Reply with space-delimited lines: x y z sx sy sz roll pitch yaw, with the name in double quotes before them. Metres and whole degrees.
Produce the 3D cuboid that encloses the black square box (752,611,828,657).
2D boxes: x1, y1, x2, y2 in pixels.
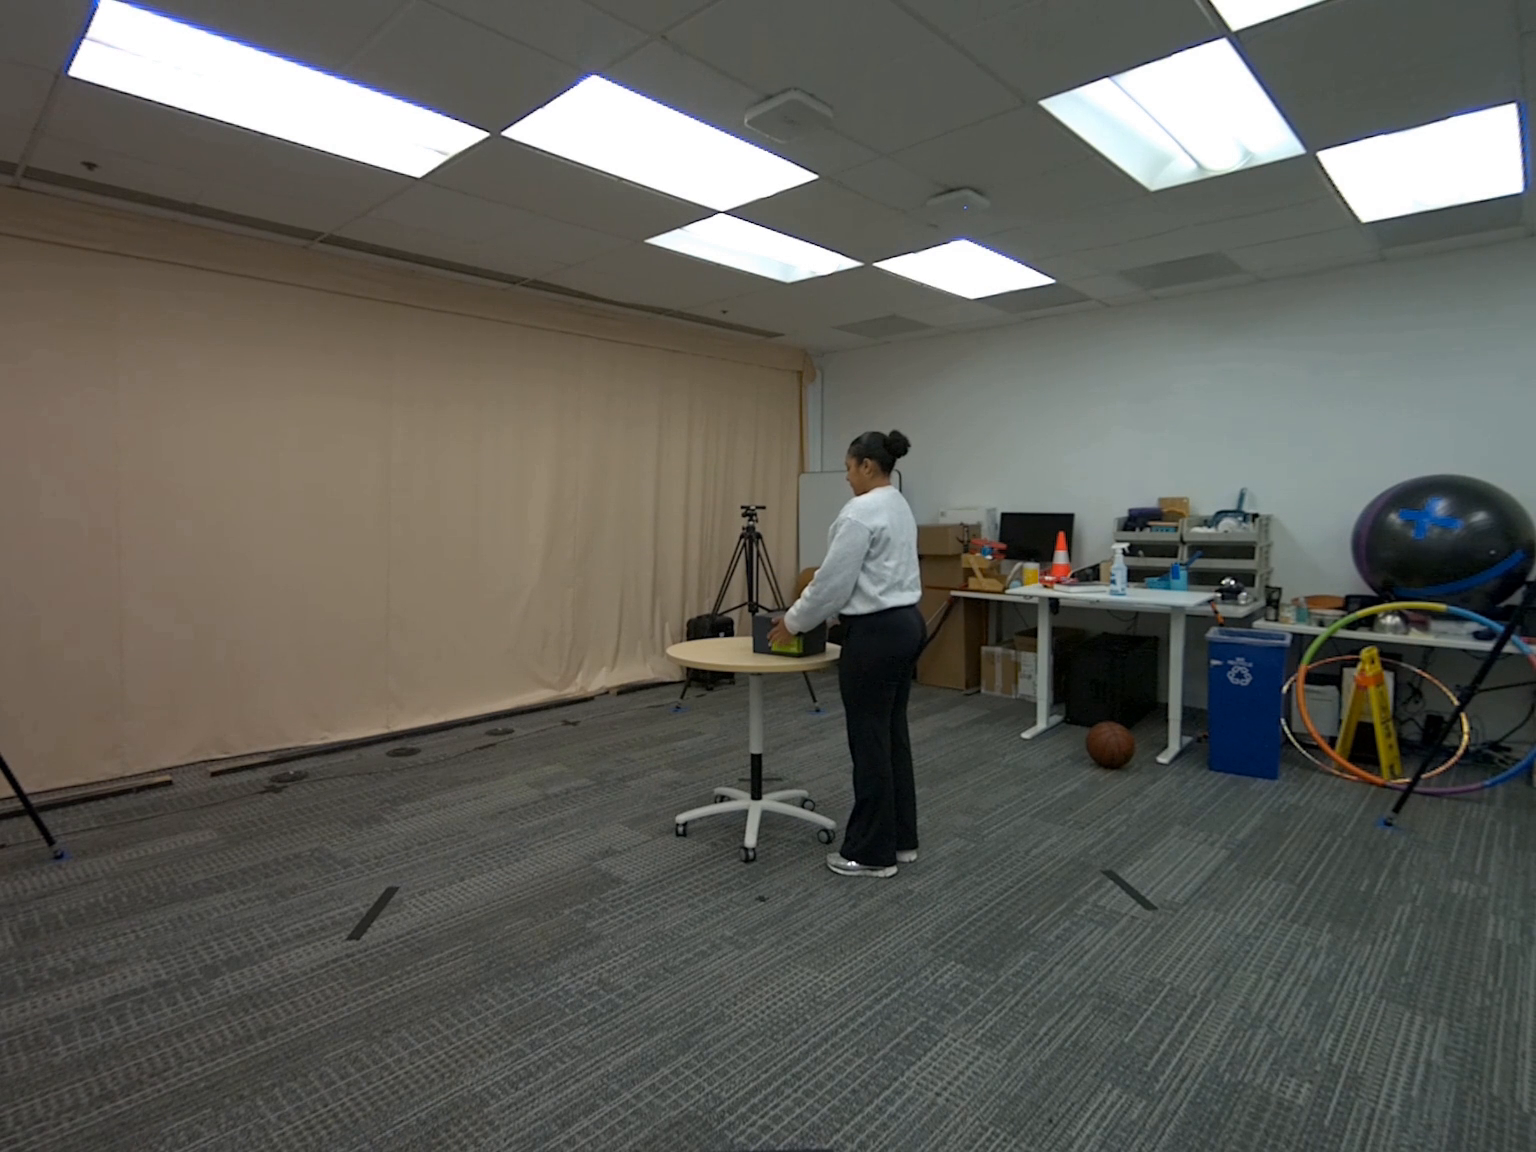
"black square box" 0.088 0.240 3.506 0.235 0.156 0.210 2 4 36
